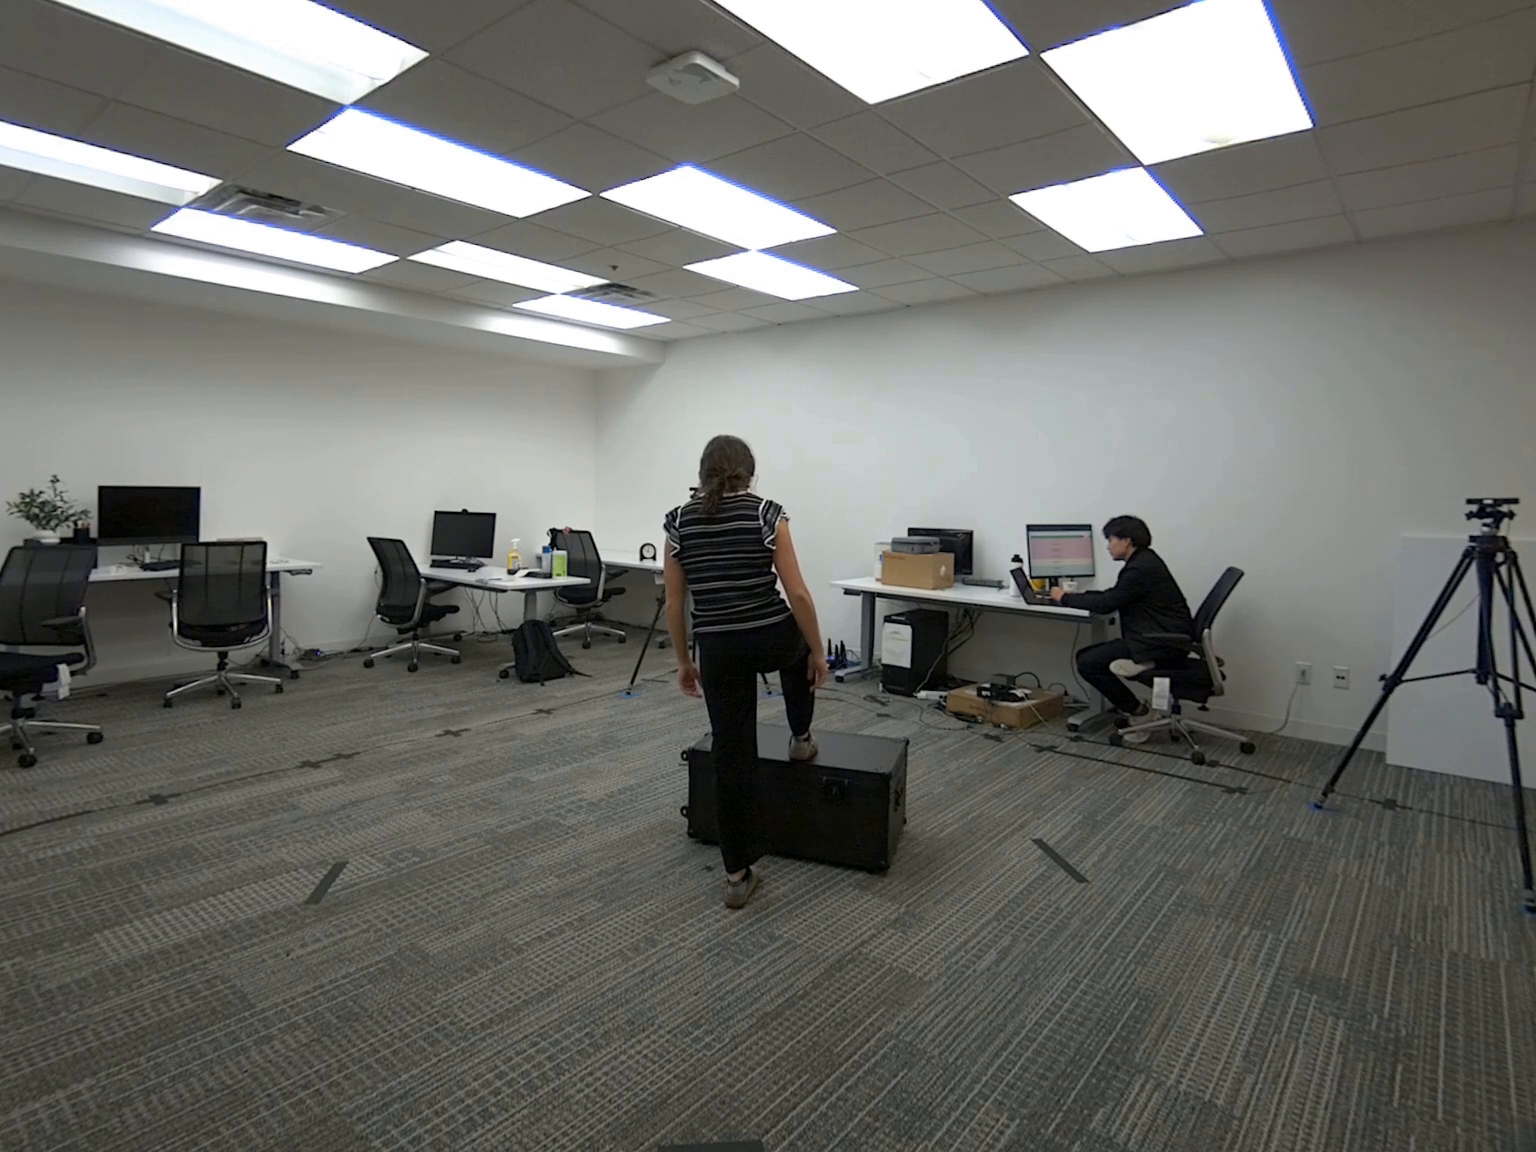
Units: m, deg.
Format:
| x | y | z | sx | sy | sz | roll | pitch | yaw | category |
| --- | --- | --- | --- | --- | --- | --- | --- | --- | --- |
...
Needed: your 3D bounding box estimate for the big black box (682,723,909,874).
| x | y | z | sx | sy | sz | roll | pitch | yaw | category |
| --- | --- | --- | --- | --- | --- | --- | --- | --- | --- |
| 0.087 | 0.849 | 3.425 | 0.880 | 0.395 | 0.513 | 3 | 6 | 19 | big black box |
